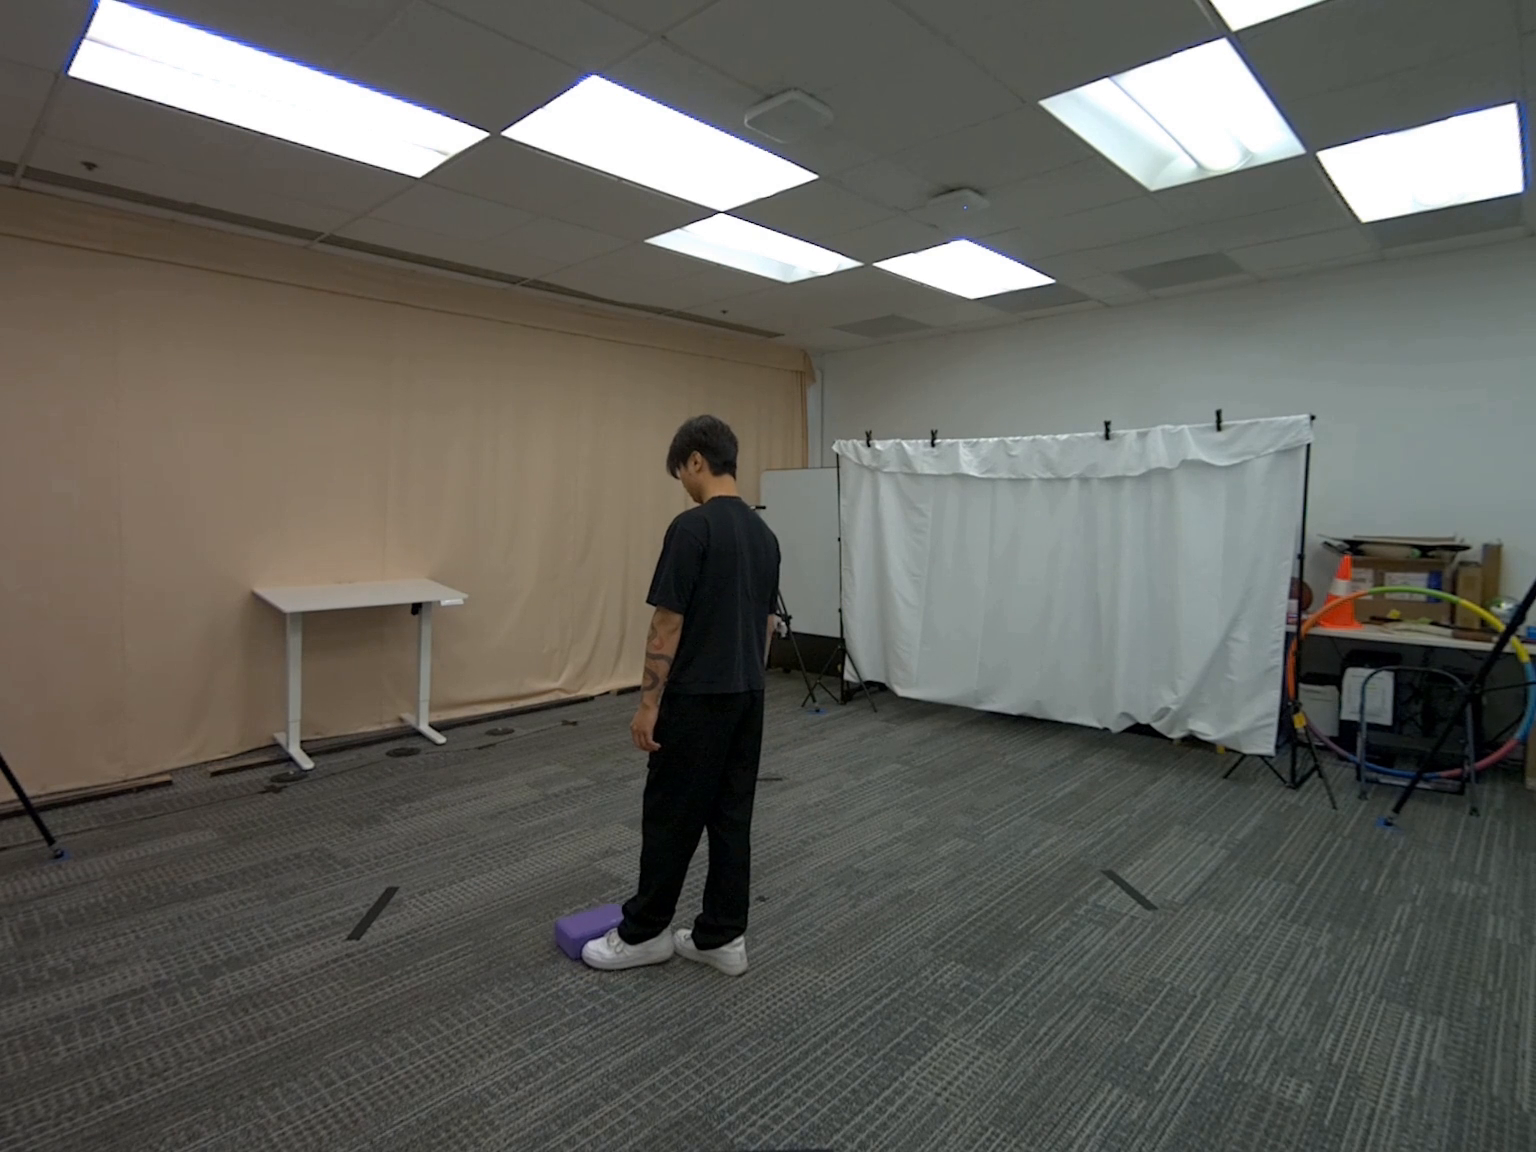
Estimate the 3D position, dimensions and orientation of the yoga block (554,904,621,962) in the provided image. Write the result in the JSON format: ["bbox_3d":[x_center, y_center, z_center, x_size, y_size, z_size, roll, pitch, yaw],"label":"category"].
[{"bbox_3d":[-0.547,1.129,2.686,0.223,0.076,0.153,-4,4,-34],"label":"yoga block"}]
